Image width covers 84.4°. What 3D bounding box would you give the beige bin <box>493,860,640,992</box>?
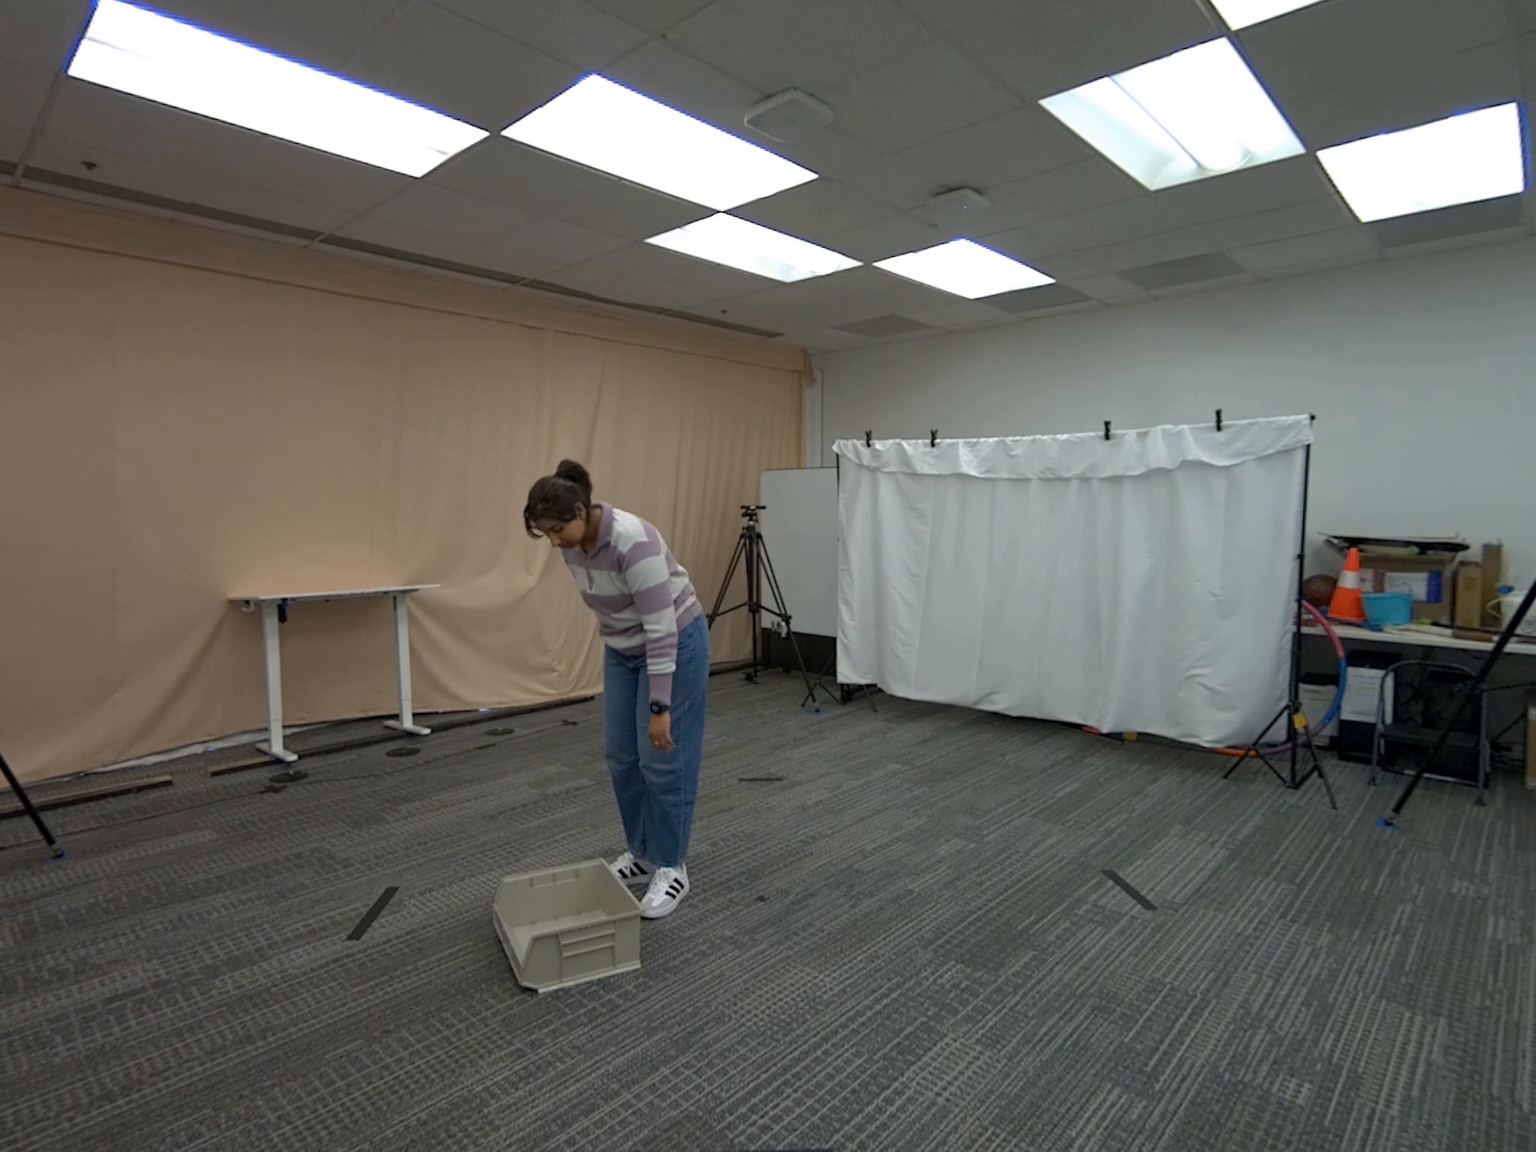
[{"bbox_3d":[-0.635,1.088,2.644,0.368,0.188,0.434,-2,4,-28],"label":"beige bin"}]
